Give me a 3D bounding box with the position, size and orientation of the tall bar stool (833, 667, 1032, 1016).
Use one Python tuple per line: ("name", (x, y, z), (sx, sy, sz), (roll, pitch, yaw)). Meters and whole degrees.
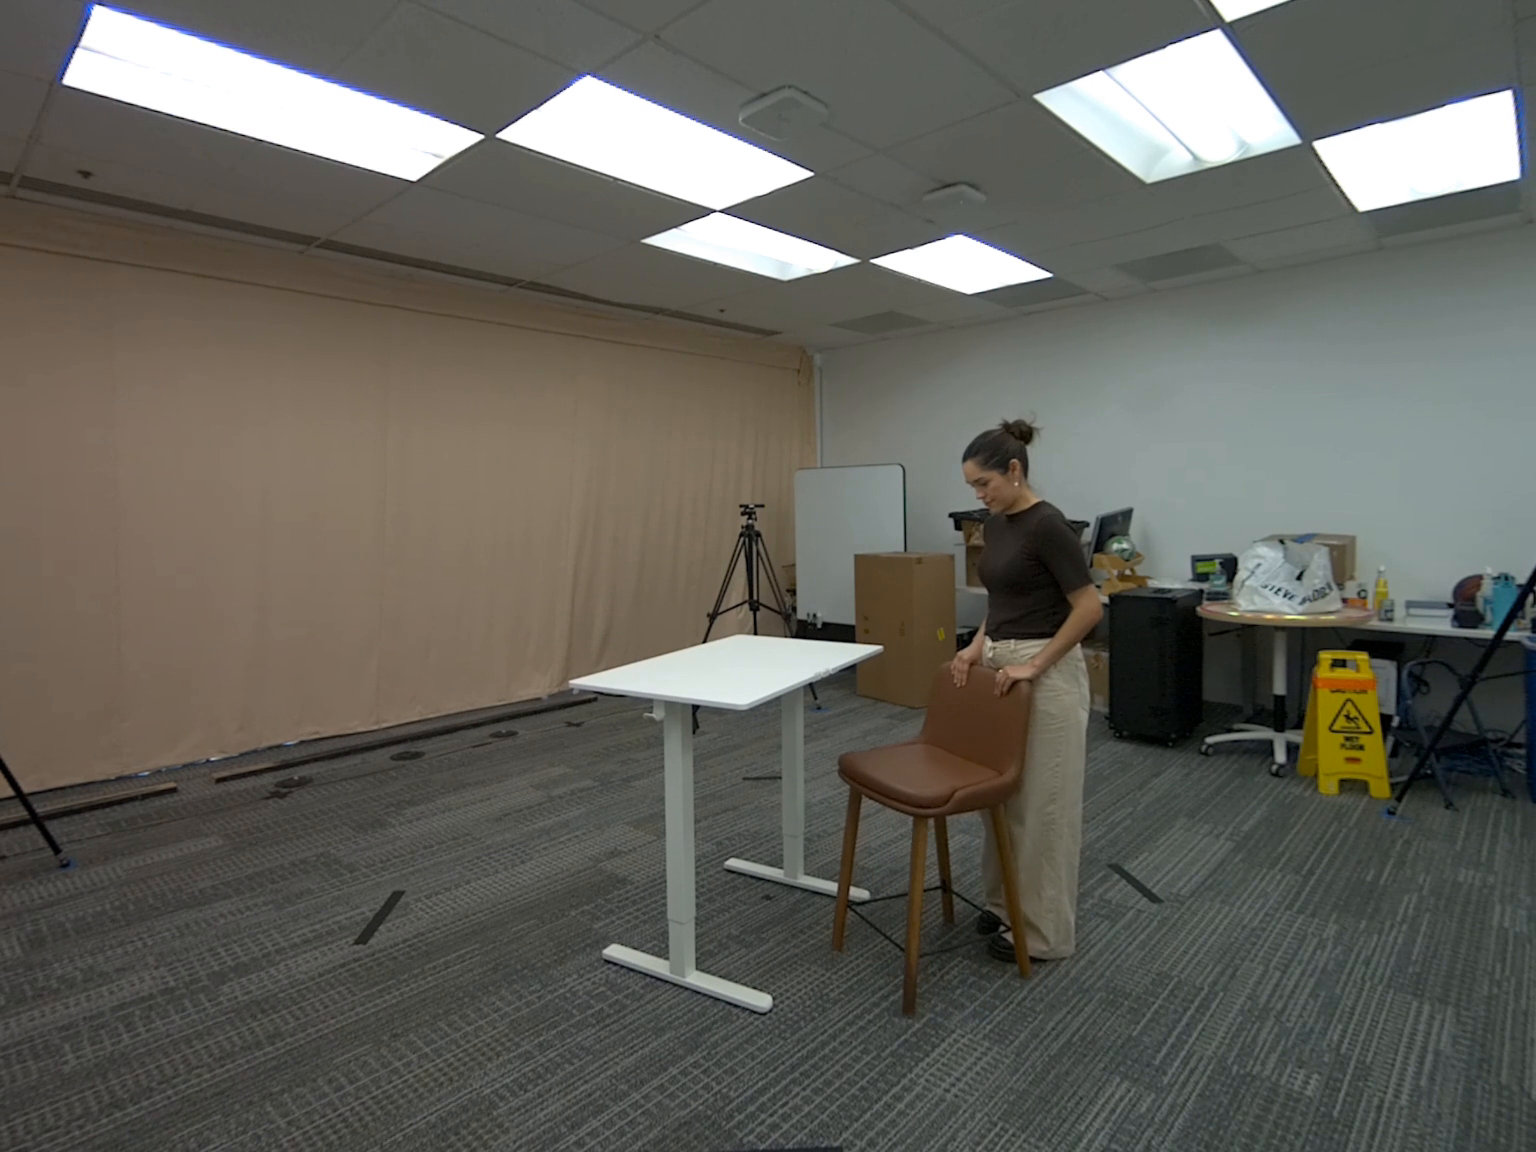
("tall bar stool", (0.497, 0.735, 2.523), (0.456, 0.888, 0.468), (0, 3, -25))
